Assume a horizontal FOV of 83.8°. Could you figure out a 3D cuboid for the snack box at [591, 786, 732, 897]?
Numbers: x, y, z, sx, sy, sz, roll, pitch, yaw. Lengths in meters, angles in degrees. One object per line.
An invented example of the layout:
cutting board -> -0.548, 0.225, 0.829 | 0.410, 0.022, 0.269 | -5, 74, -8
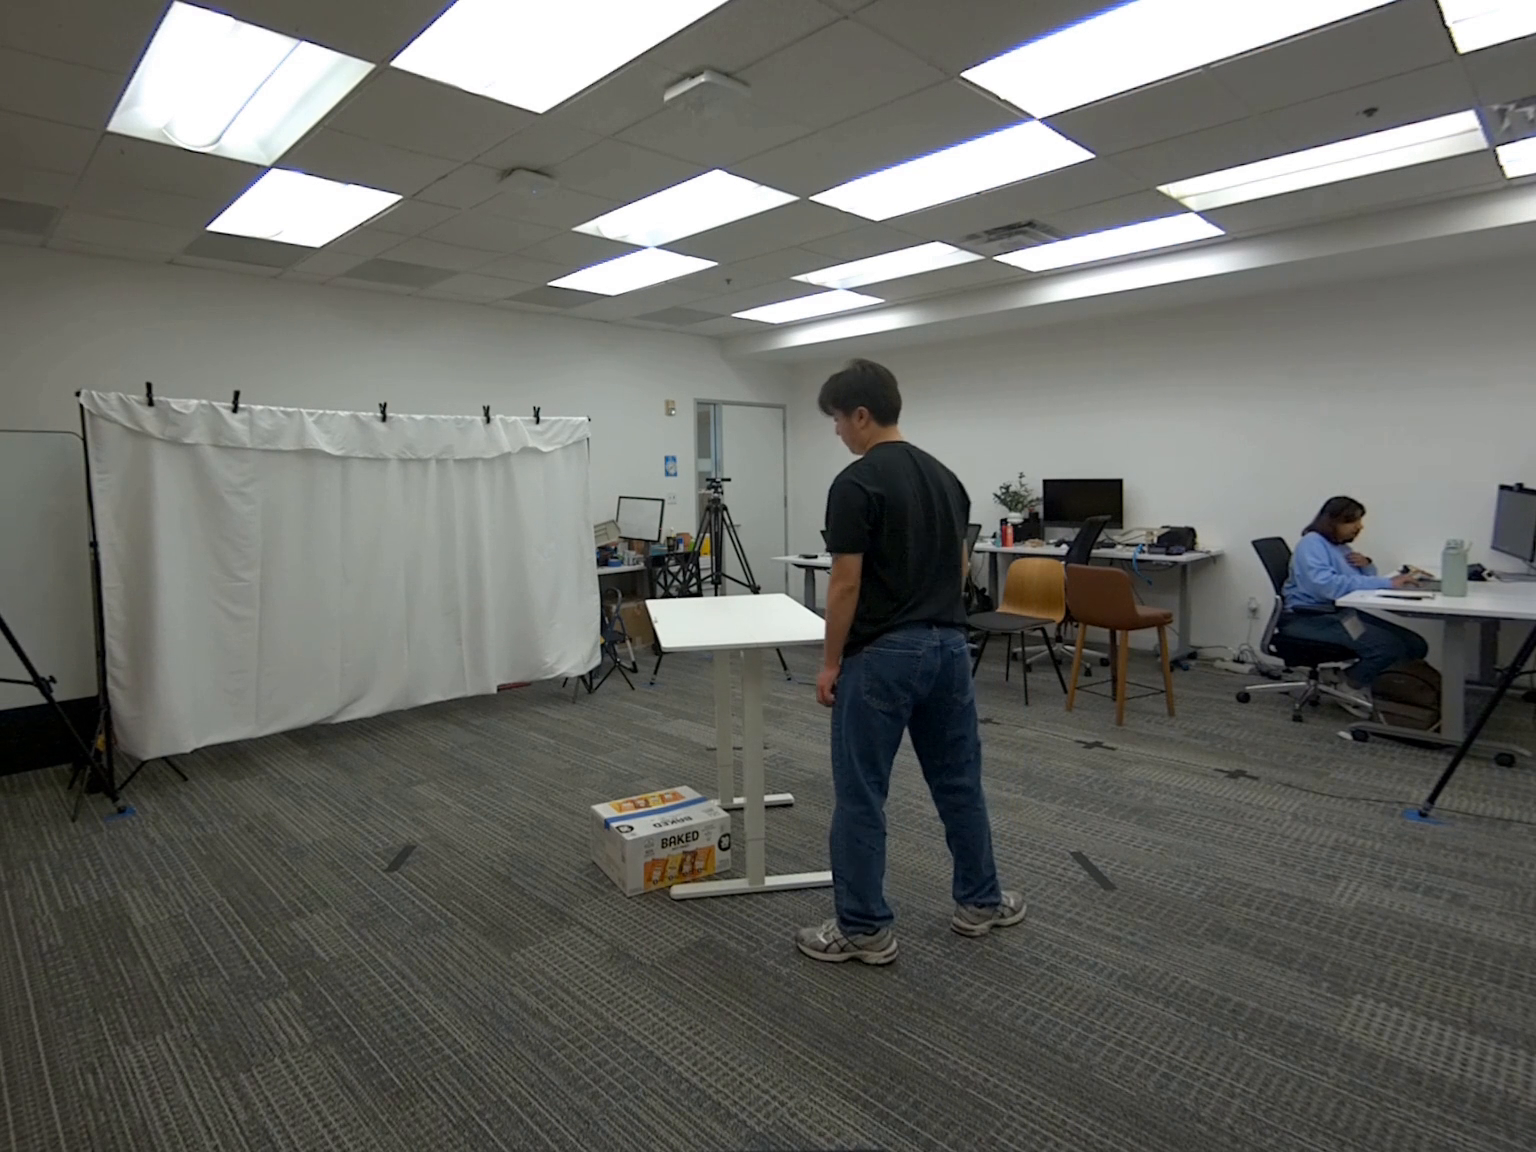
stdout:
snack box -> -0.391, 0.948, 3.091 | 0.395, 0.205, 0.350 | -4, 7, -31
